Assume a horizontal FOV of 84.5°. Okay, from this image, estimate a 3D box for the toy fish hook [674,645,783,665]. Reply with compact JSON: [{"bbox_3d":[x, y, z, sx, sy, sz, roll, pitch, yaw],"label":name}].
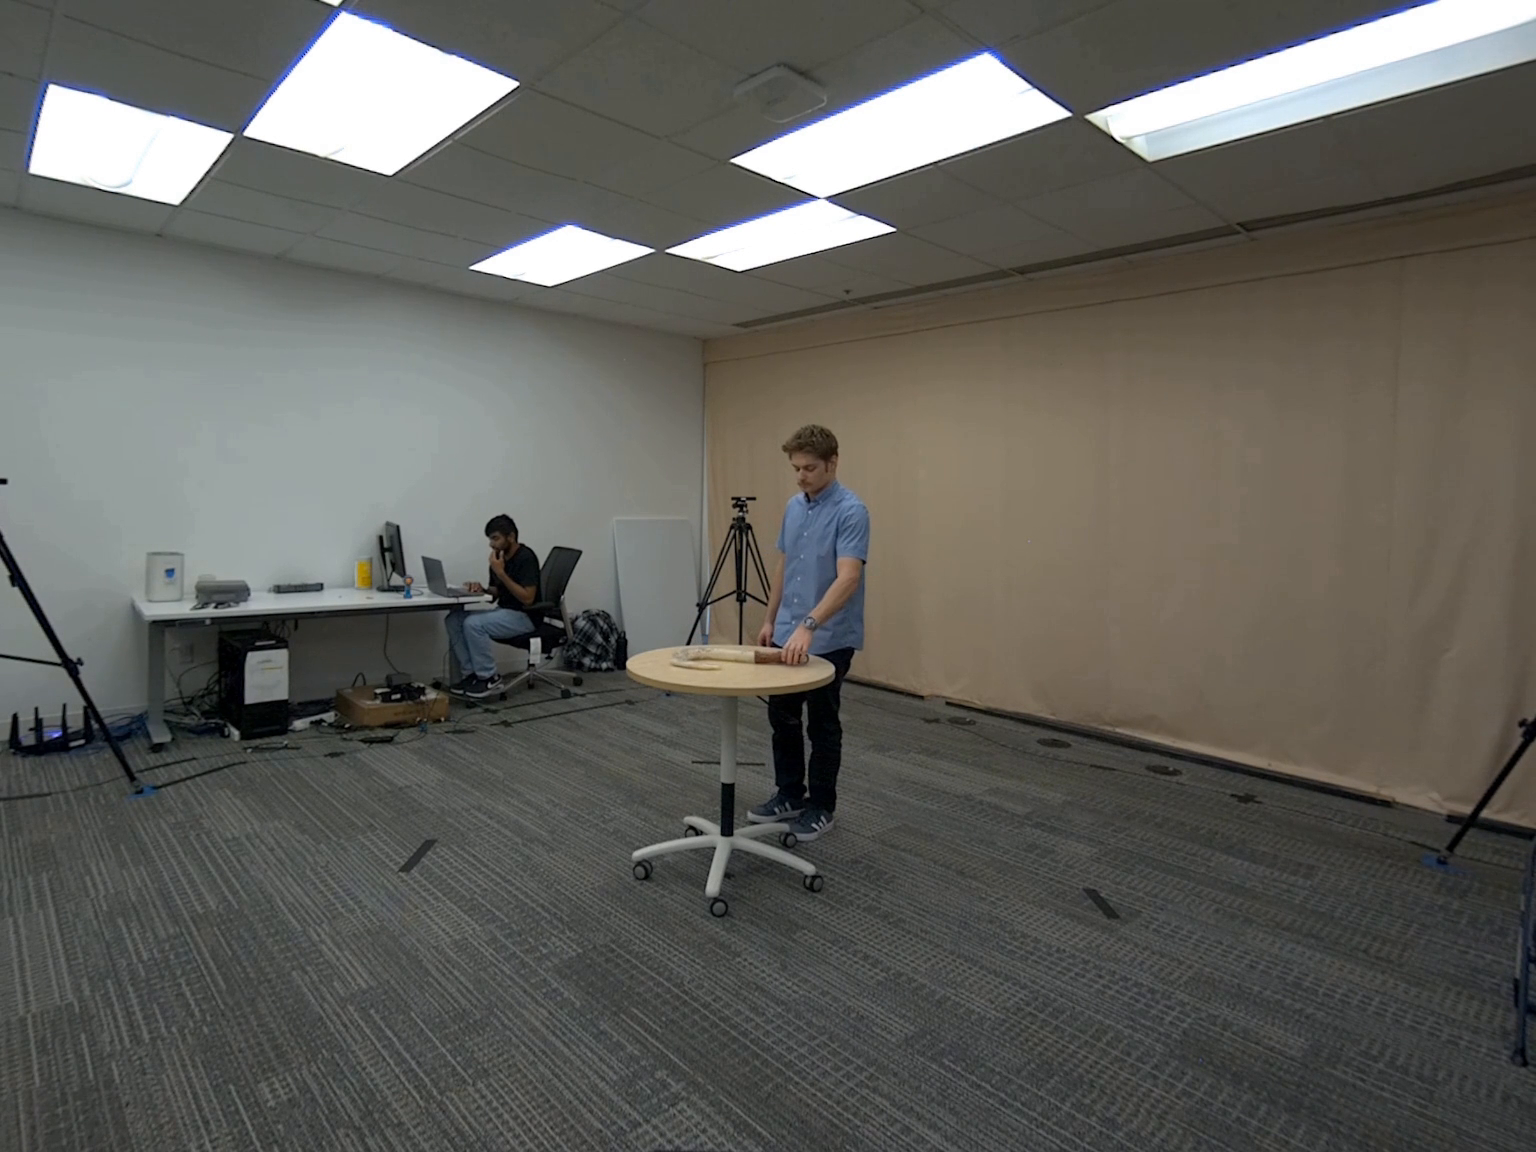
[{"bbox_3d":[-0.104,0.312,3.077,0.509,0.048,0.225,0,12,6],"label":"toy fish hook"}]
